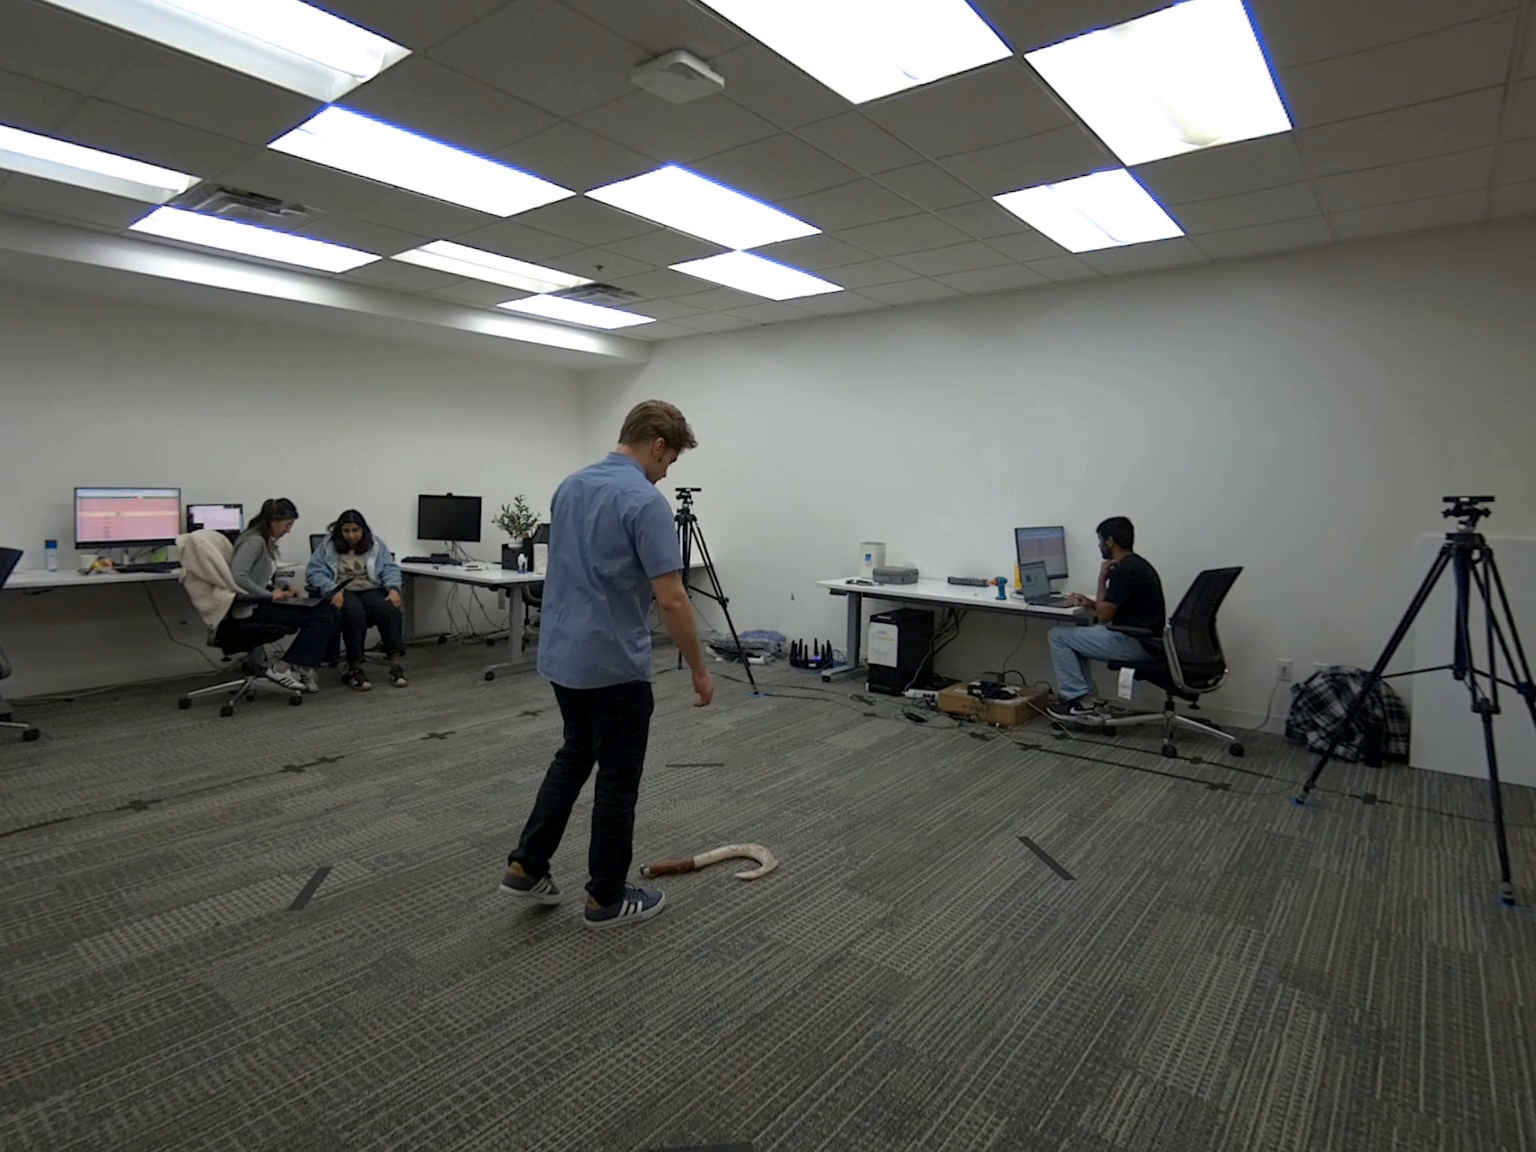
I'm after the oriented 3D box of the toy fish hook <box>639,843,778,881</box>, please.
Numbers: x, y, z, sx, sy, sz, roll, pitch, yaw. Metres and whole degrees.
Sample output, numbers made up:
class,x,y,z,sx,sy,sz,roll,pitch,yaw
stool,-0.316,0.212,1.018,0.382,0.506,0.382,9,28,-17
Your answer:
class,x,y,z,sx,sy,sz,roll,pitch,yaw
toy fish hook,-0.216,1.047,3.082,0.495,0.048,0.231,-2,6,-24
